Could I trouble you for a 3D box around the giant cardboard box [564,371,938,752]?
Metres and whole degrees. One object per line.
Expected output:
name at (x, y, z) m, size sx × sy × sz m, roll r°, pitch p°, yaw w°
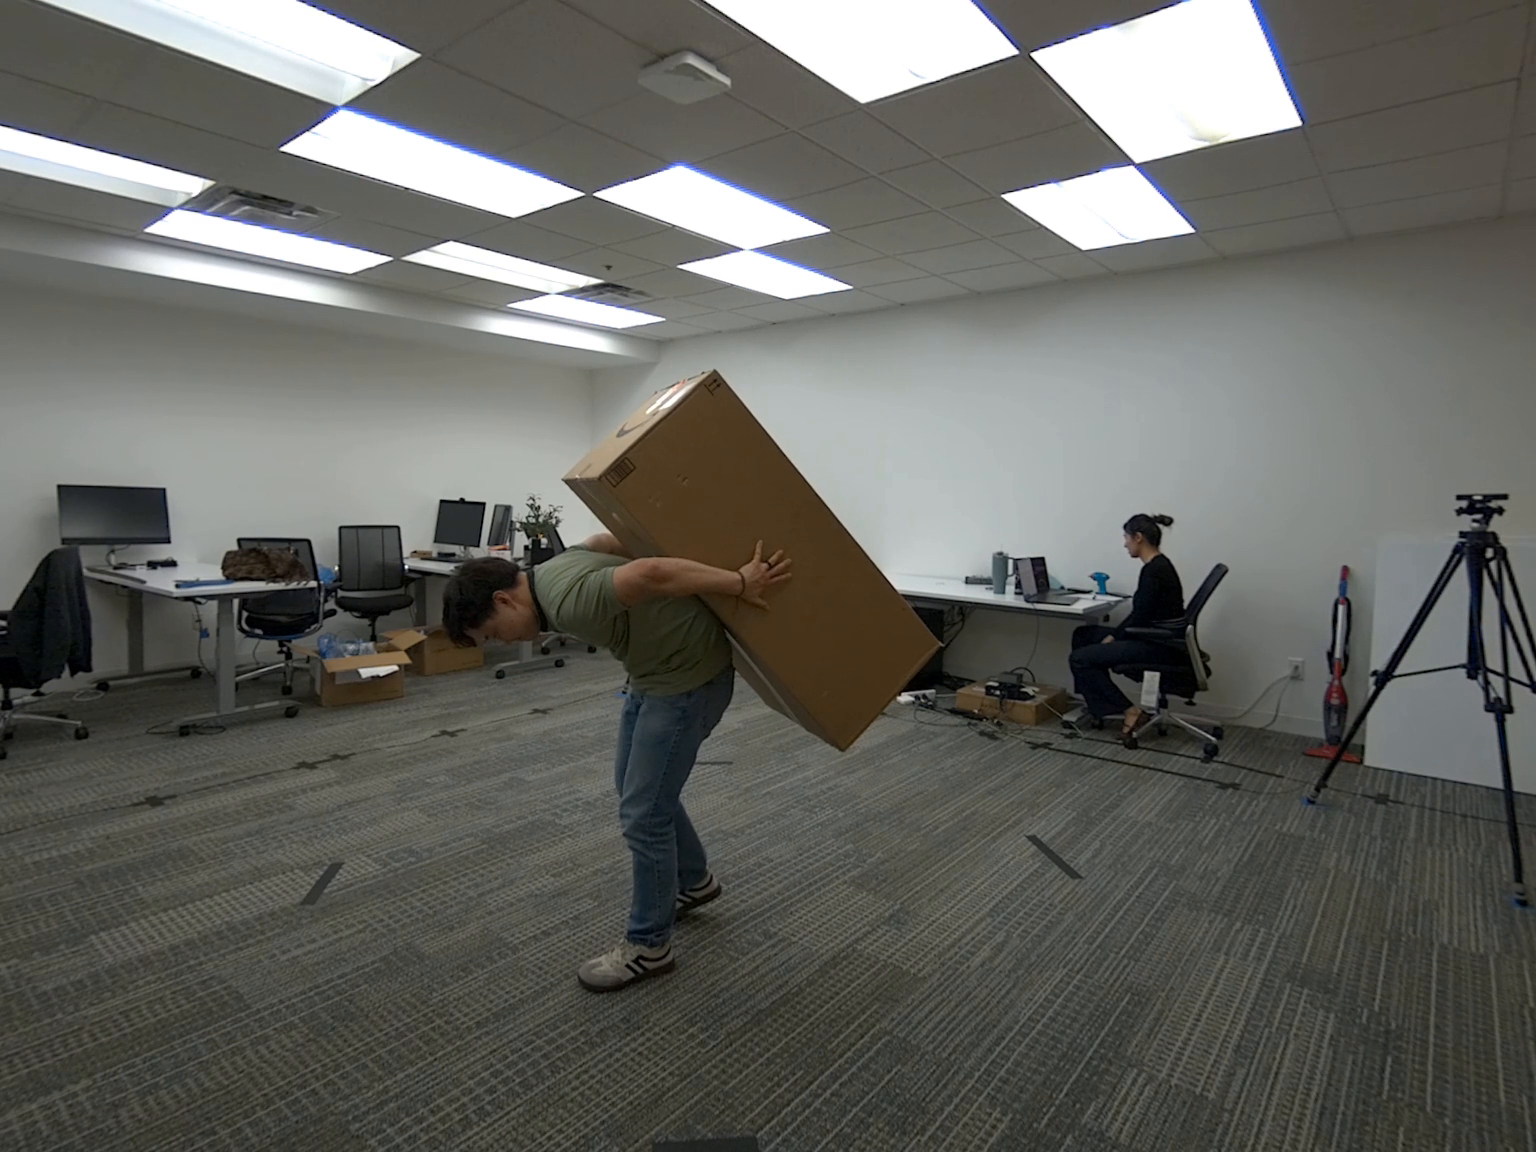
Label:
giant cardboard box at (-0.082, -0.051, 2.537) m, size 0.425 × 1.004 × 0.591 m, roll -44°, pitch 16°, yaw -12°
